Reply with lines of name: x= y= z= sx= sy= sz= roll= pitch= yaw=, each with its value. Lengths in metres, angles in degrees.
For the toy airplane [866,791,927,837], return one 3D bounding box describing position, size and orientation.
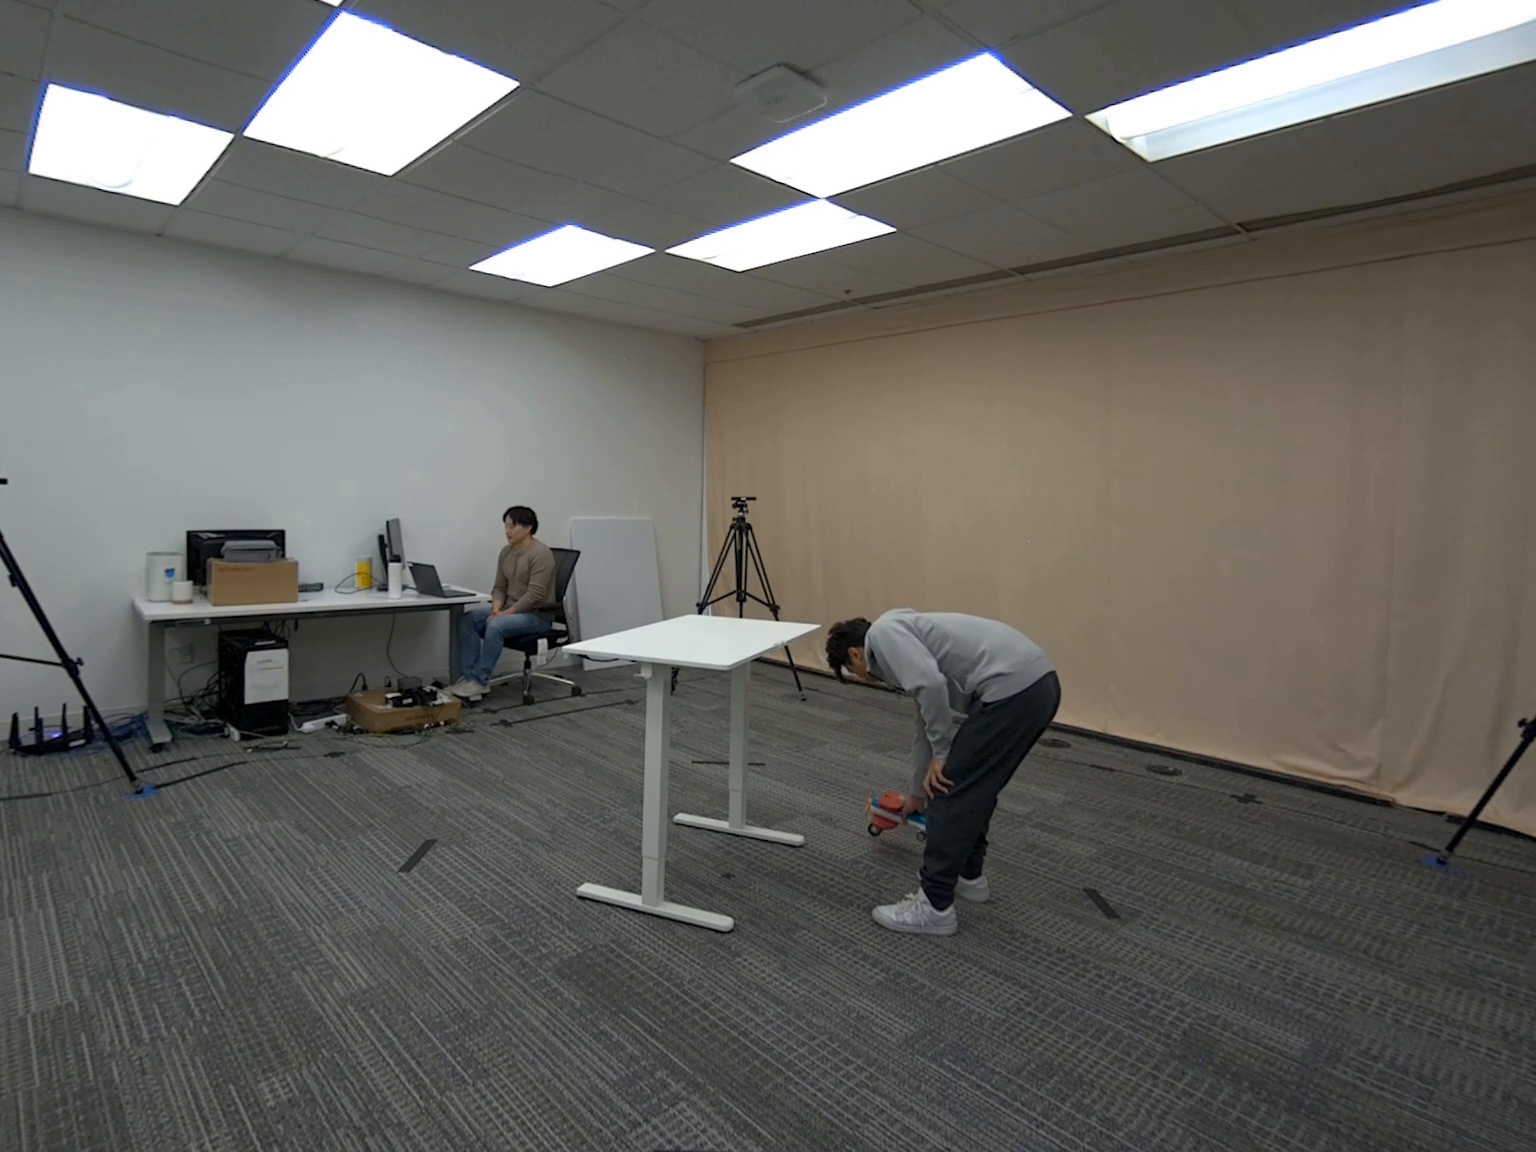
toy airplane: x=0.516 y=0.949 z=3.337 sx=0.258 sy=0.157 sz=0.252 roll=3 pitch=-2 yaw=-6
